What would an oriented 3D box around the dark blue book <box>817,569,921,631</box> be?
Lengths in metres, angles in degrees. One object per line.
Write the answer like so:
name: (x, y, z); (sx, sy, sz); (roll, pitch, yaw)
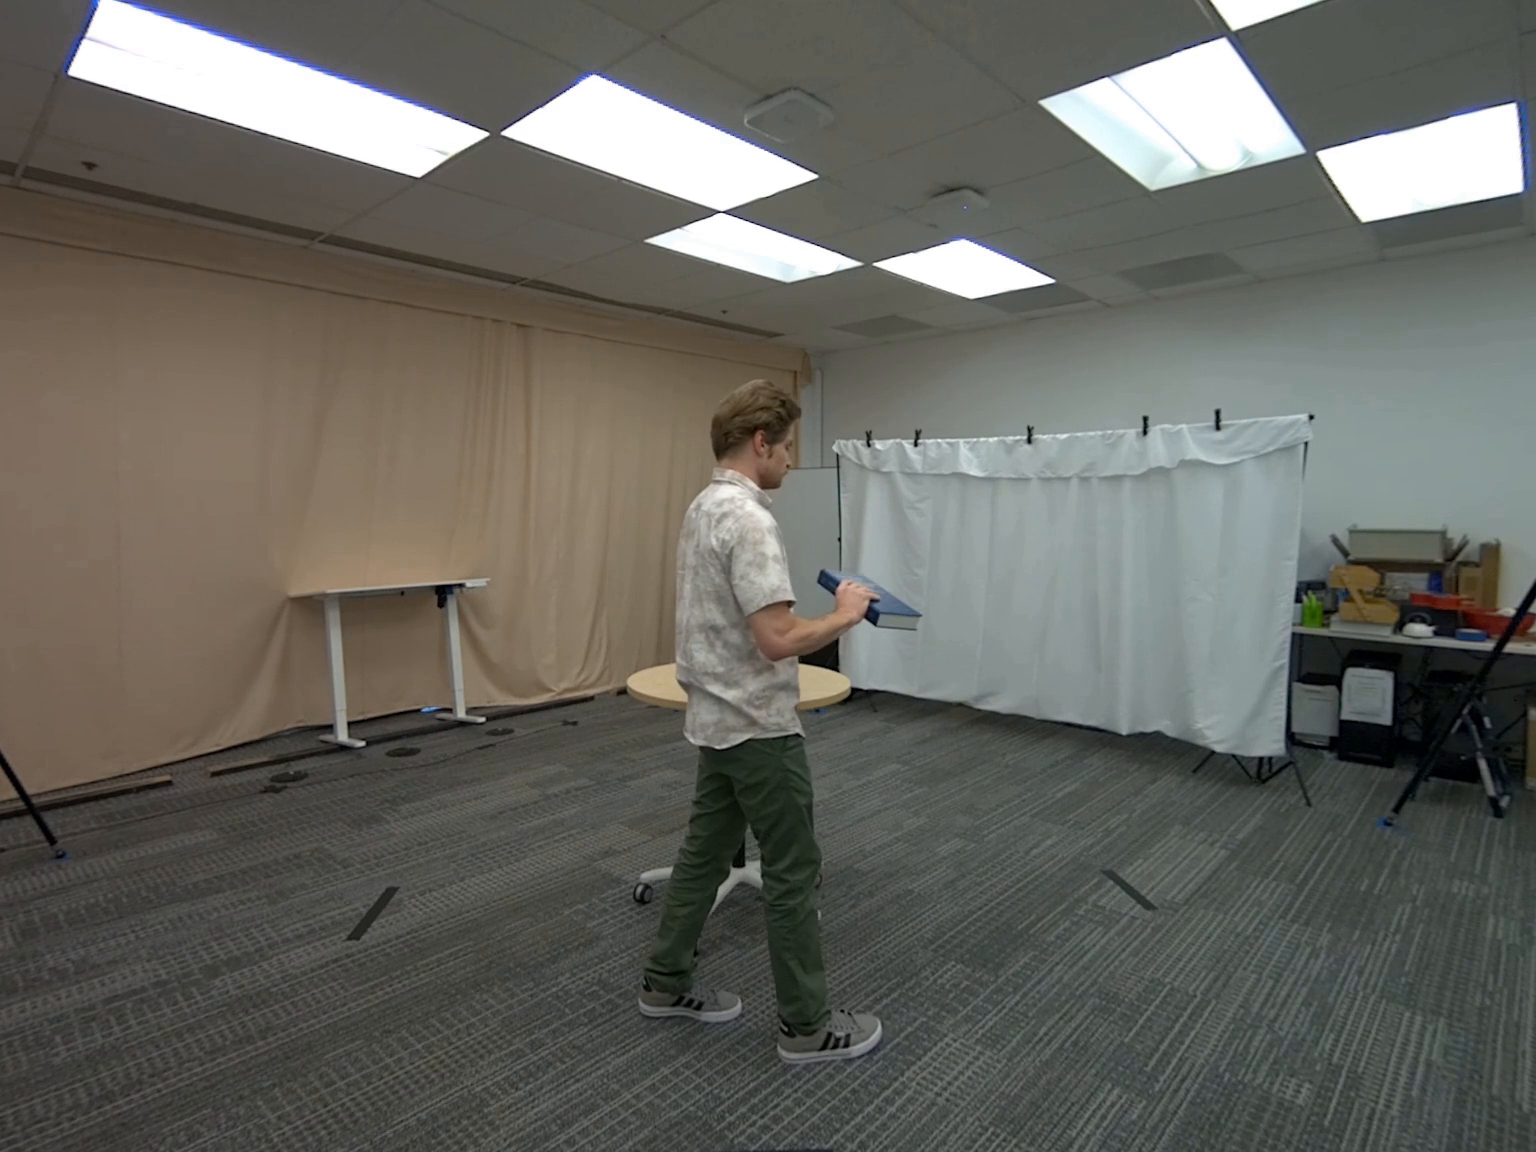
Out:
dark blue book: (0.272, 0.064, 2.202); (0.158, 0.045, 0.254); (7, 21, -39)
